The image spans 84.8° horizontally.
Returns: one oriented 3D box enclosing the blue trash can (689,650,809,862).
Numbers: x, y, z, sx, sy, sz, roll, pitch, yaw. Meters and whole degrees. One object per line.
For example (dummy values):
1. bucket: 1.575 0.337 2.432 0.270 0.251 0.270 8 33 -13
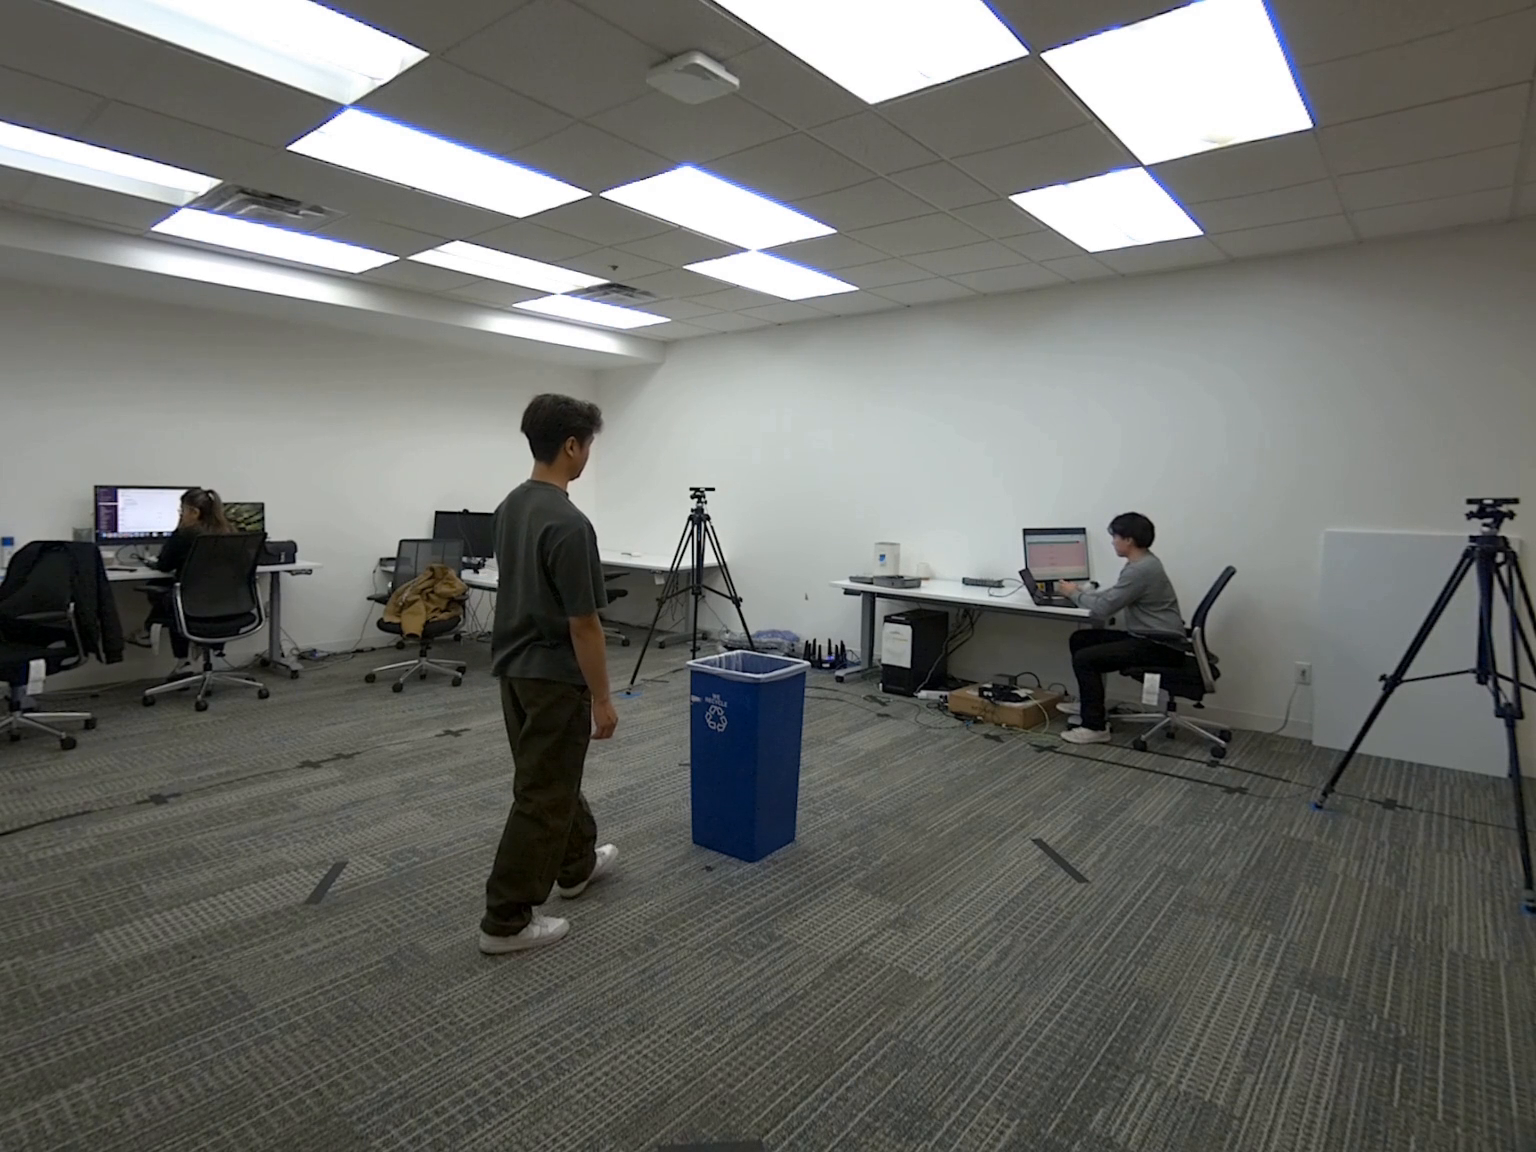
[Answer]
1. blue trash can: -0.093 0.687 3.350 0.390 0.711 0.363 4 5 35
